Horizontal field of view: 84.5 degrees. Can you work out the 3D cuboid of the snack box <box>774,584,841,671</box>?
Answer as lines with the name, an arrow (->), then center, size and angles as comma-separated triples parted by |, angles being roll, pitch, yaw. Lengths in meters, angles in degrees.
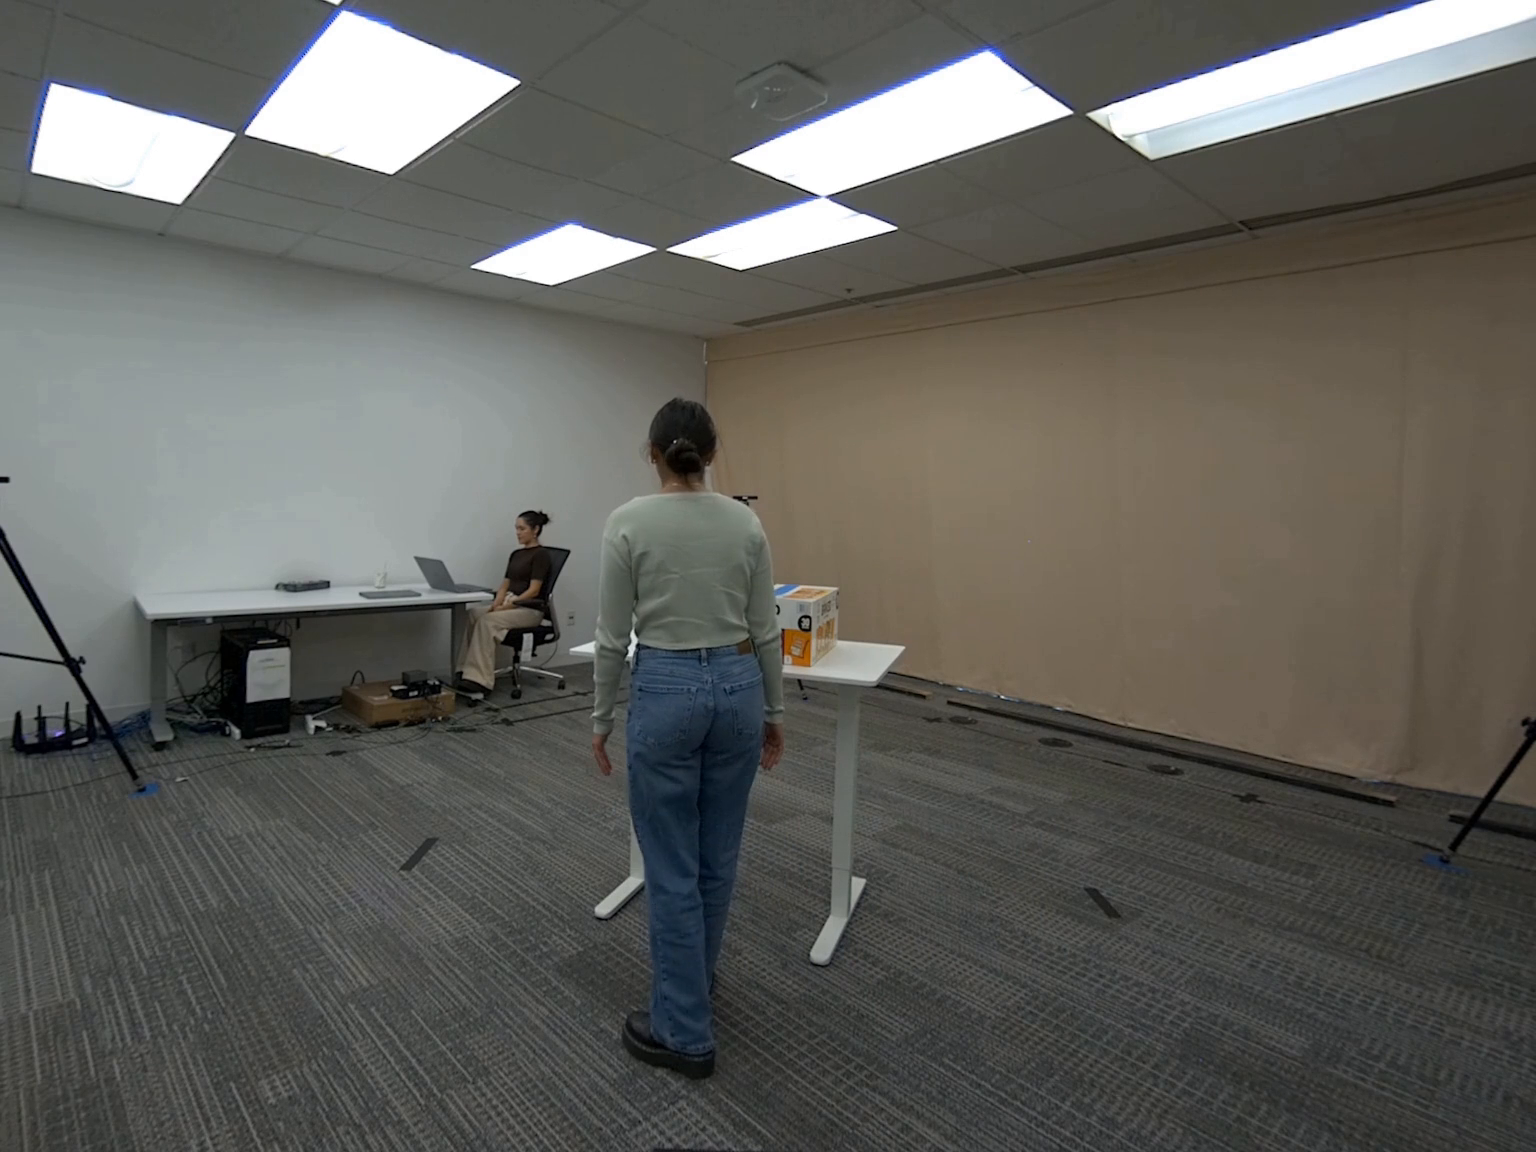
snack box -> 0.027, 0.154, 2.808 | 0.345, 0.205, 0.400 | 4, 6, 18
